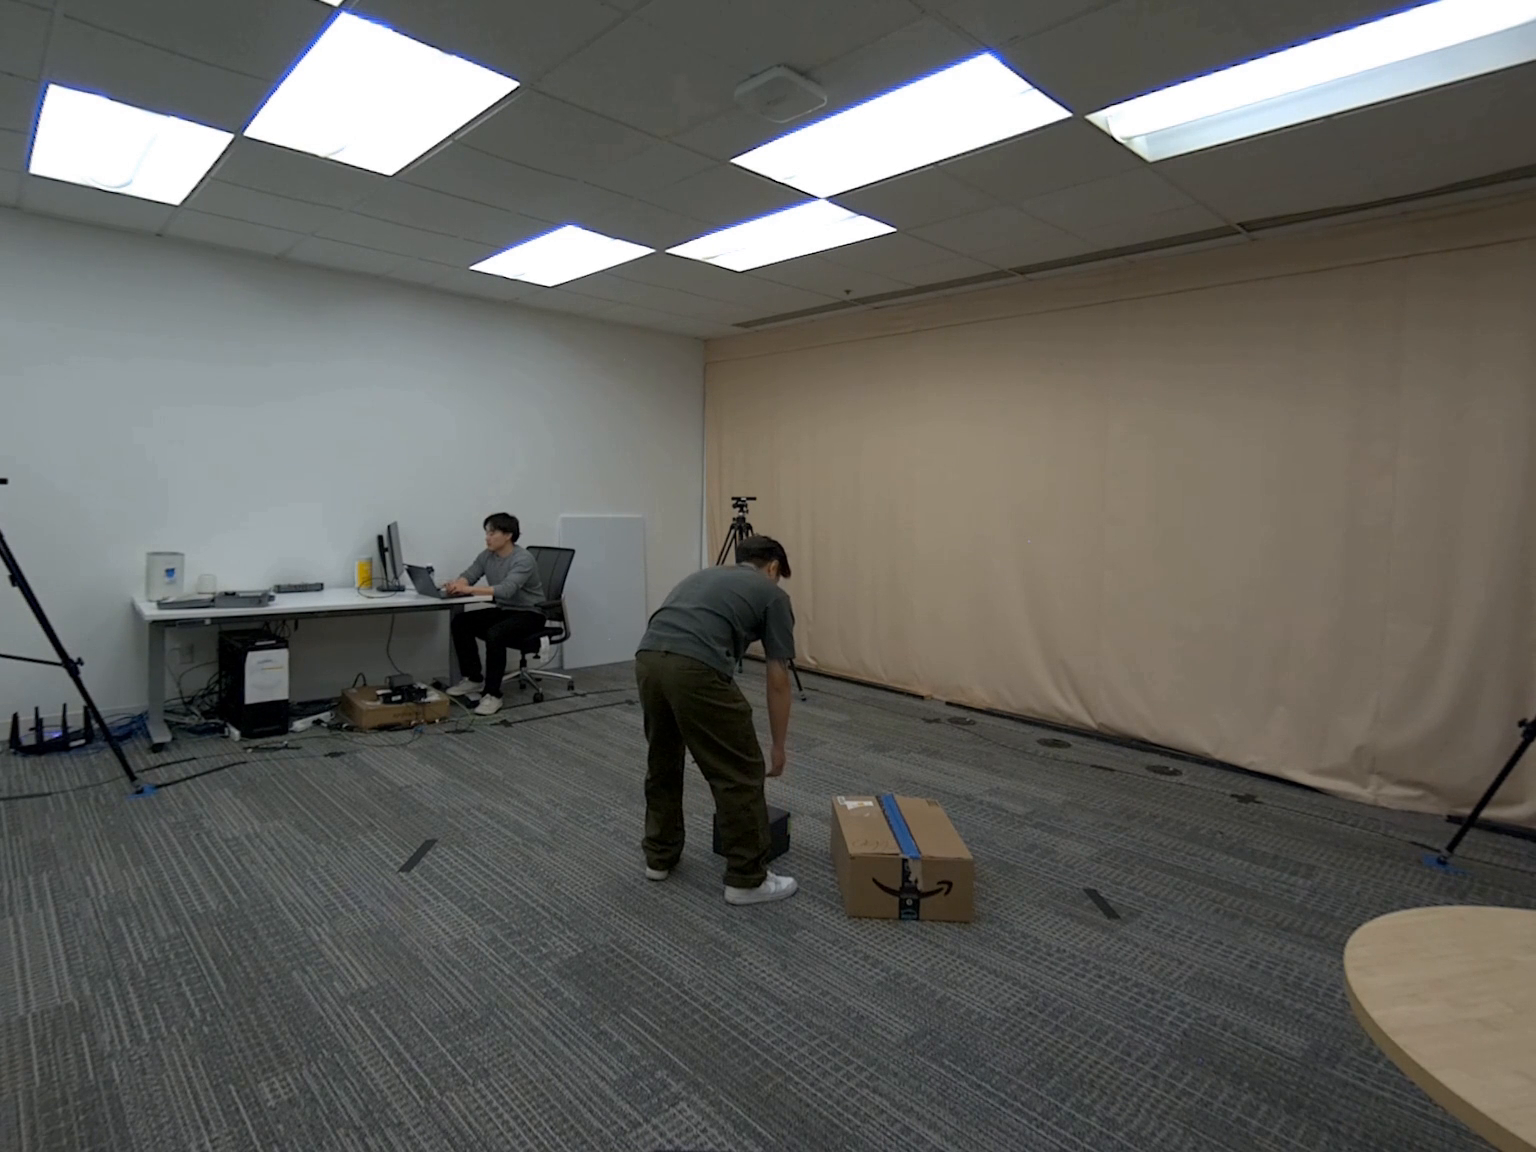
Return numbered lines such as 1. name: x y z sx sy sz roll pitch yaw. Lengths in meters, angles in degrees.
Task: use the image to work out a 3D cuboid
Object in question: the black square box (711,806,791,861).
1. black square box: -0.067 1.010 3.317 0.233 0.155 0.212 4 5 34
